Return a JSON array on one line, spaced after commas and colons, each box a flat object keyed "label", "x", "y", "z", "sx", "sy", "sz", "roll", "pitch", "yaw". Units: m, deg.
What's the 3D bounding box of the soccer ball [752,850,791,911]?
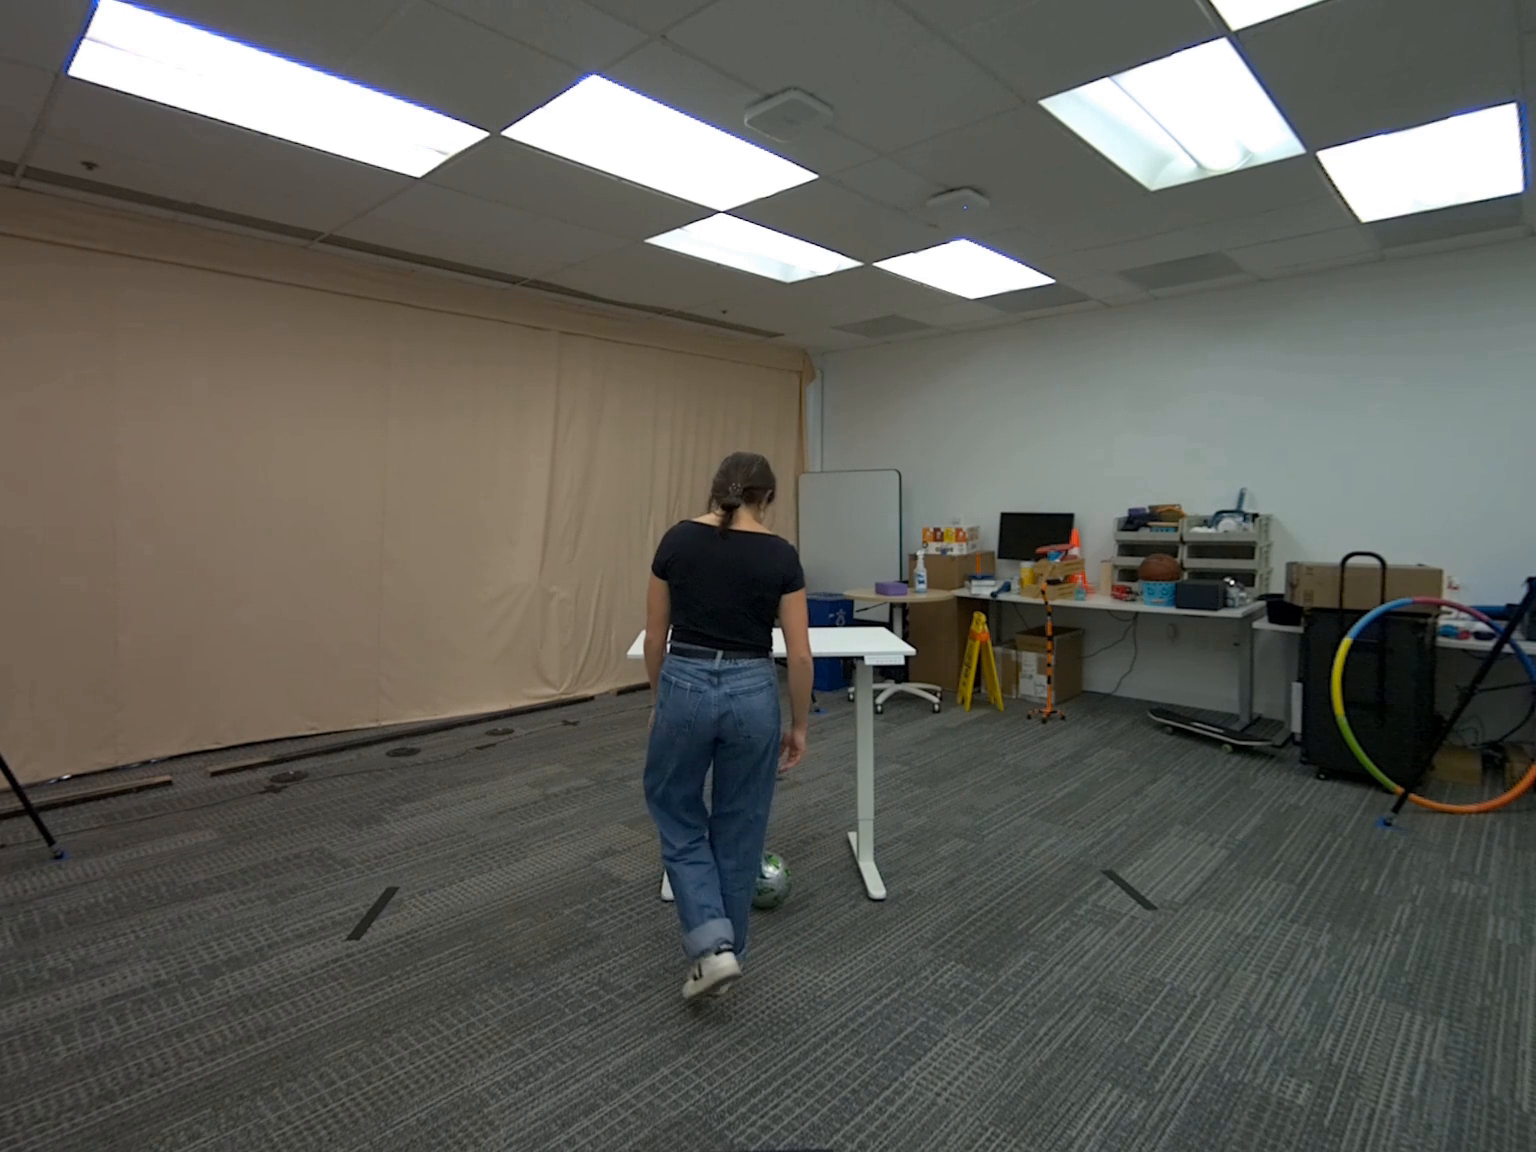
[{"label": "soccer ball", "x": -0.001, "y": 1.061, "z": 2.932, "sx": 0.187, "sy": 0.187, "sz": 0.188, "roll": 0, "pitch": 4, "yaw": -2}]
